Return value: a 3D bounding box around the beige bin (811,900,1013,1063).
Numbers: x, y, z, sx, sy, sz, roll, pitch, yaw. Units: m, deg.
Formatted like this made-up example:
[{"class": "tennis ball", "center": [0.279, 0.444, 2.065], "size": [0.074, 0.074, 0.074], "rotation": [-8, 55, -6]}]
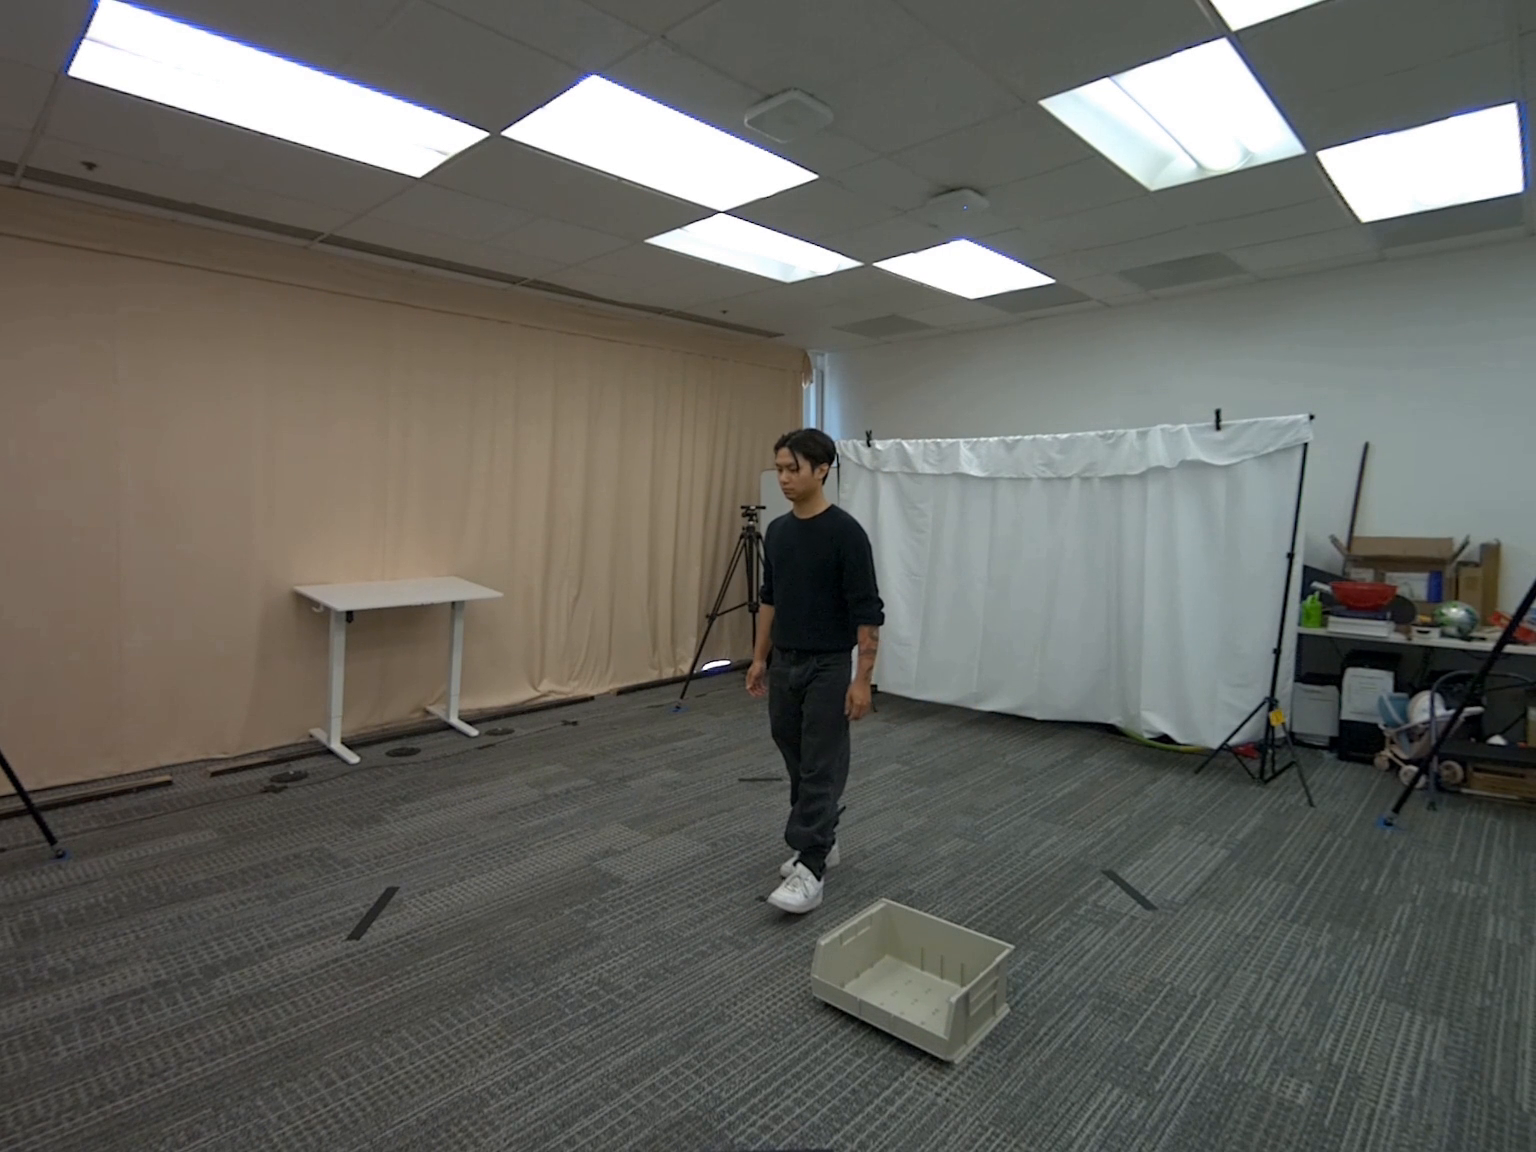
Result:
[{"class": "beige bin", "center": [0.406, 1.114, 2.322], "size": [0.436, 0.188, 0.366], "rotation": [2, 4, 41]}]
